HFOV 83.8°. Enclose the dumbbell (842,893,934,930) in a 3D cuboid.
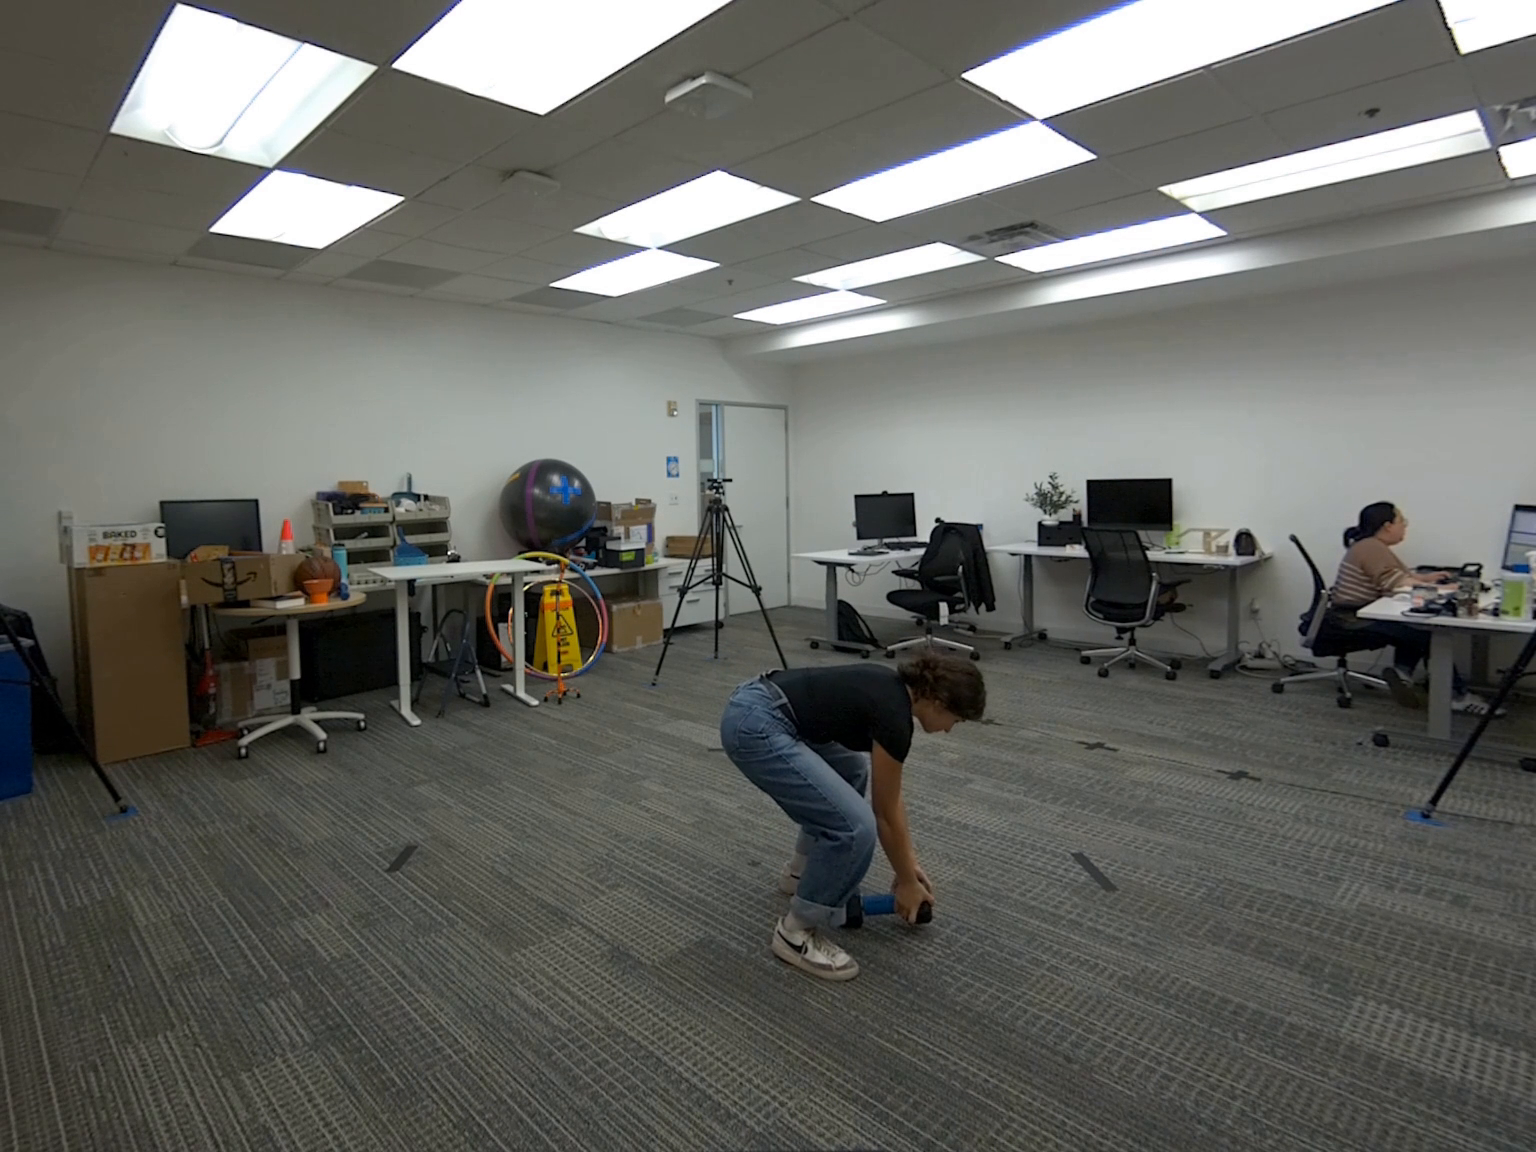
[{"bbox_3d":[0.353,1.032,2.669,0.294,0.126,0.106,-6,-27,3],"label":"dumbbell"}]
